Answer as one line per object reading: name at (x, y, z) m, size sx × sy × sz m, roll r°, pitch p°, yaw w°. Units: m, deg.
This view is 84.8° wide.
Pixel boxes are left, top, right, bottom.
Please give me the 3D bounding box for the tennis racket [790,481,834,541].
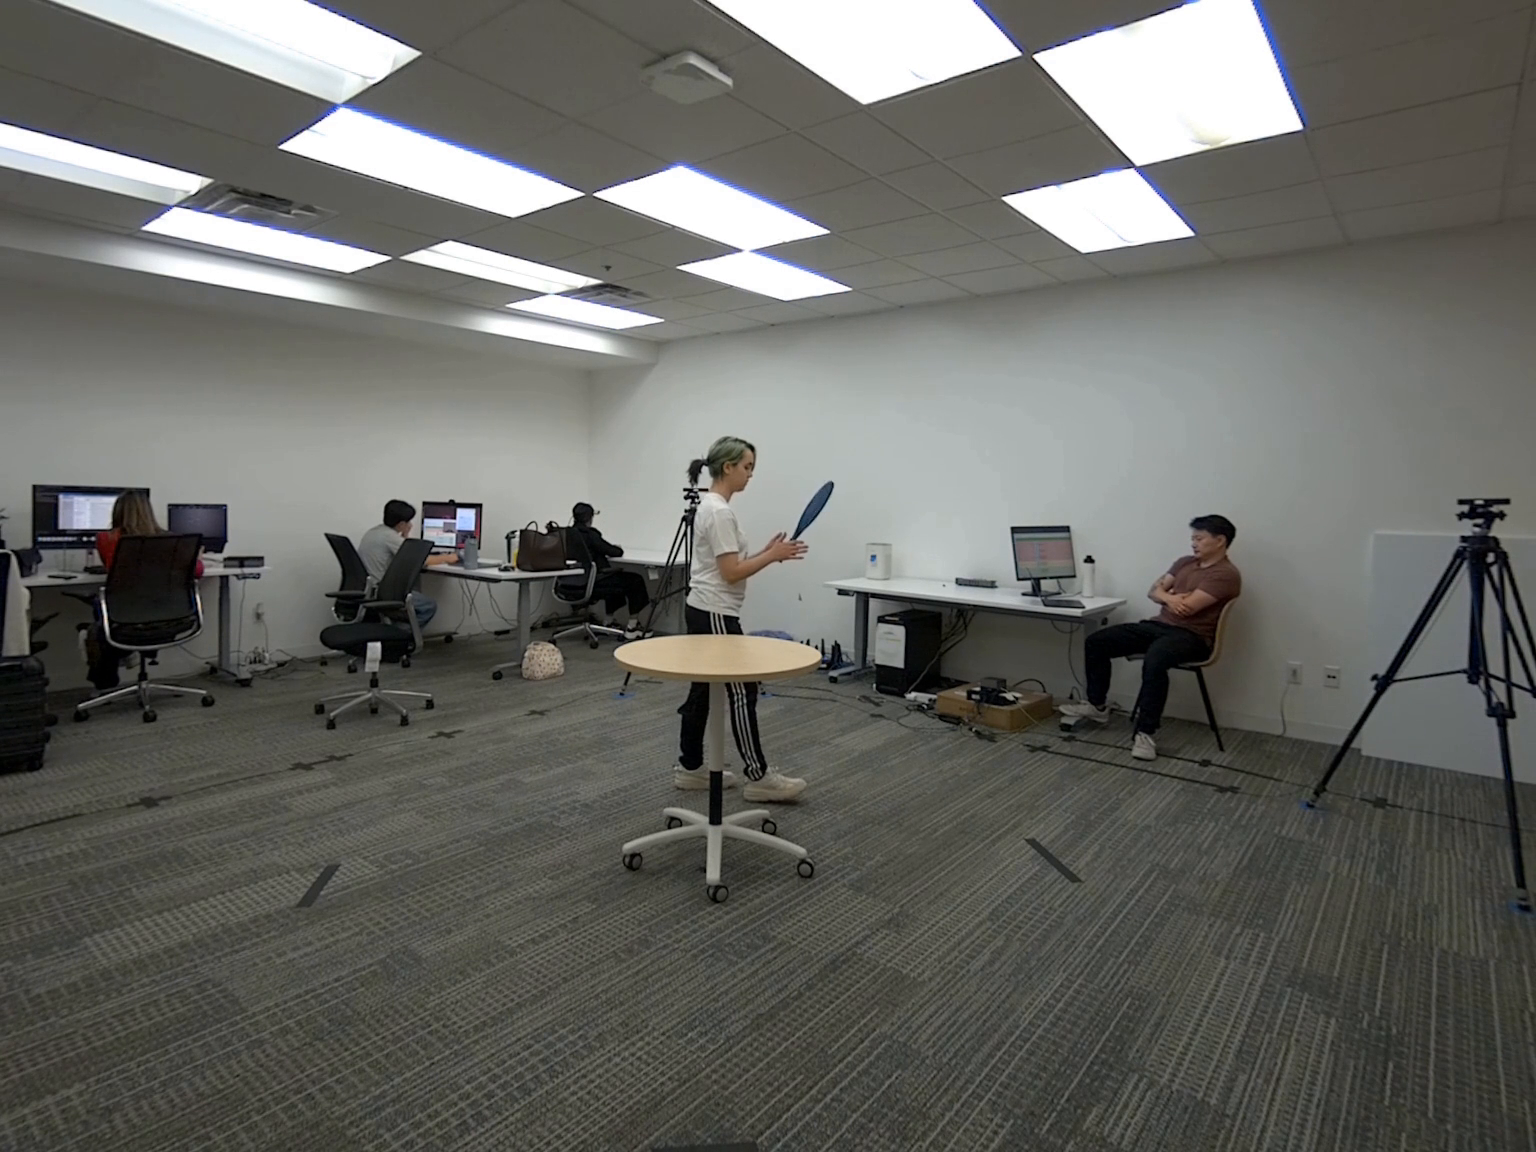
tennis racket at (0.152, -0.254, 3.826) m, size 0.032 × 0.433 × 0.208 m, roll 36°, pitch 2°, yaw 19°
